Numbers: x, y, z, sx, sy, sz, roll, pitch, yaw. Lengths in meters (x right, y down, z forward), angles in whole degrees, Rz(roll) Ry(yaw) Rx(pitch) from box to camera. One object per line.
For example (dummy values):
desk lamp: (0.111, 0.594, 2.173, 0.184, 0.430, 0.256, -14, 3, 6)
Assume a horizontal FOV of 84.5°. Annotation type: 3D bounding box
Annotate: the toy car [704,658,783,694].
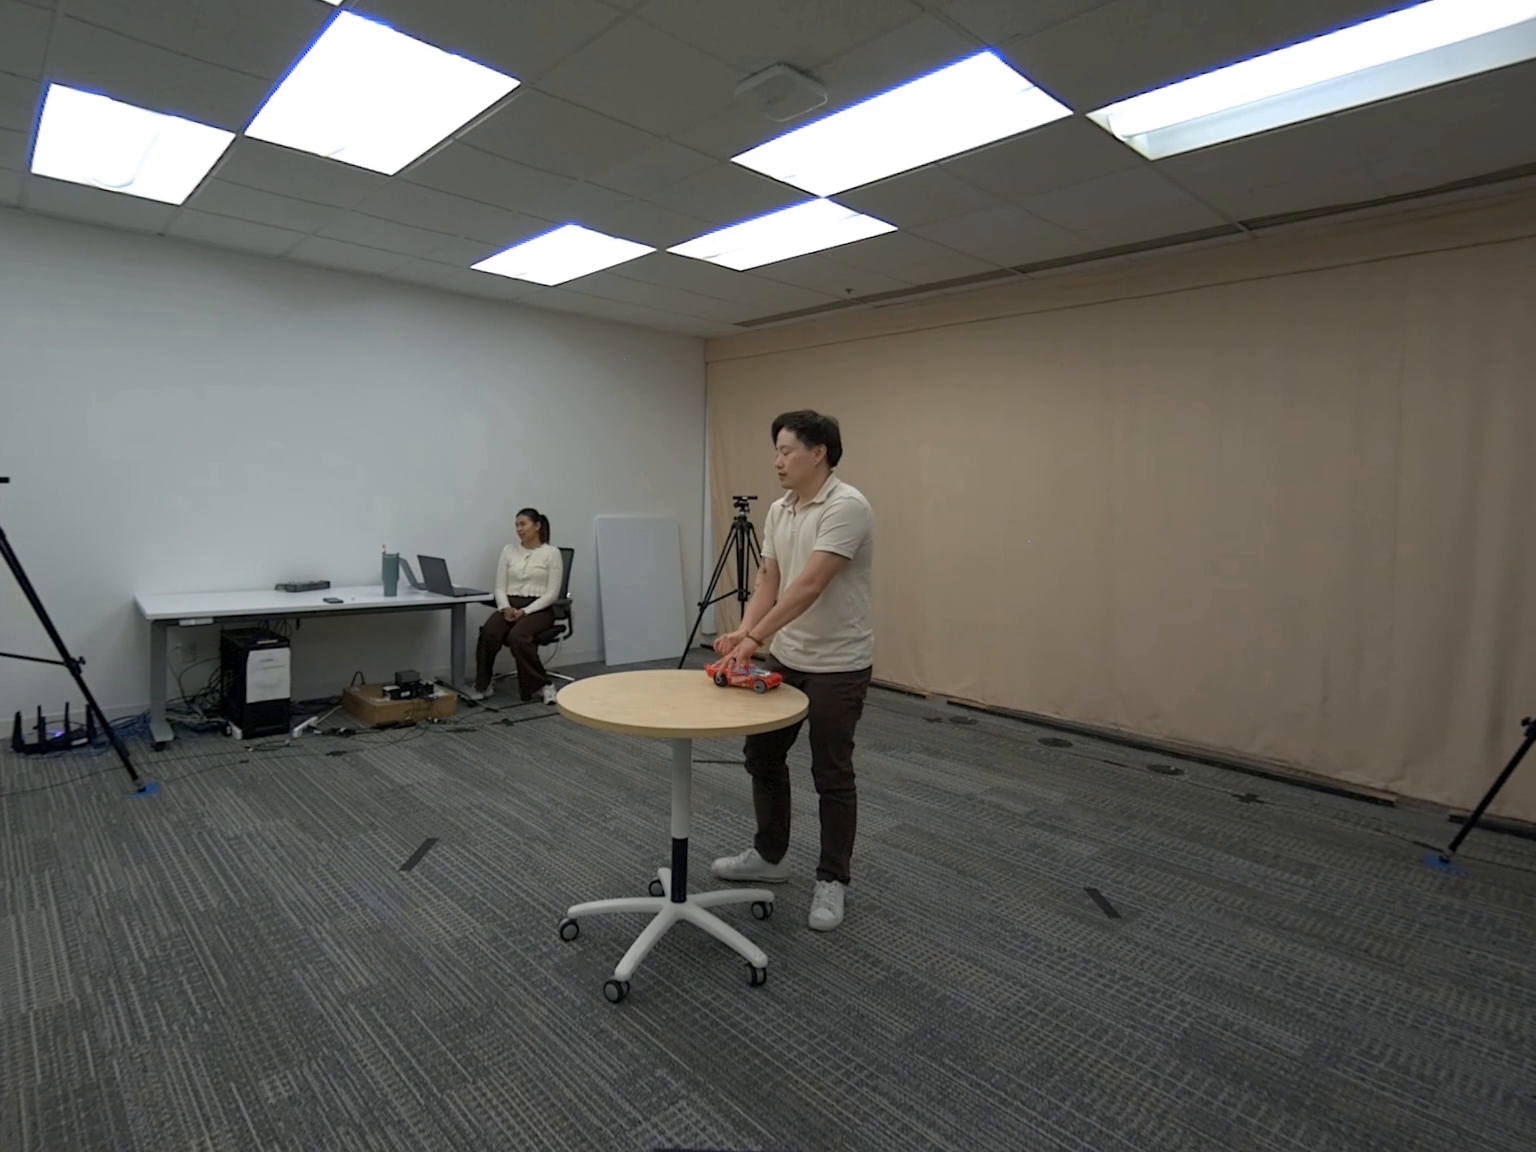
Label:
toy car: (-0.094, 0.329, 2.716, 0.261, 0.083, 0.128, 14, 11, 30)
